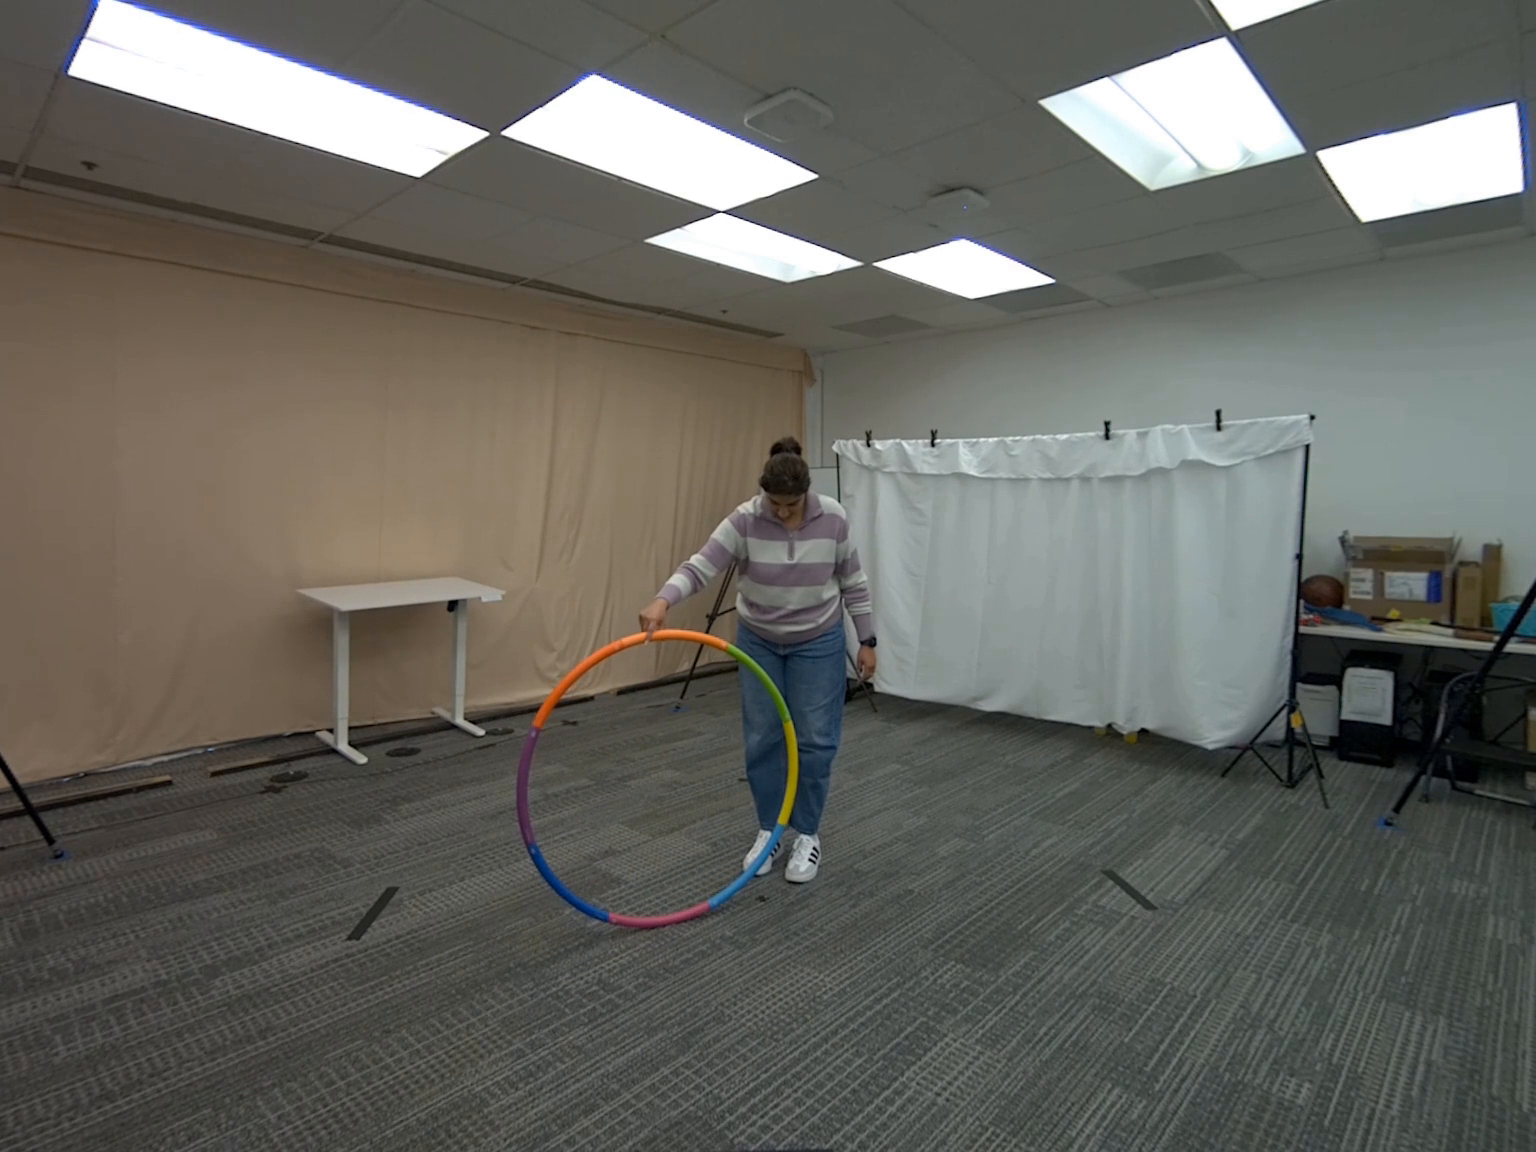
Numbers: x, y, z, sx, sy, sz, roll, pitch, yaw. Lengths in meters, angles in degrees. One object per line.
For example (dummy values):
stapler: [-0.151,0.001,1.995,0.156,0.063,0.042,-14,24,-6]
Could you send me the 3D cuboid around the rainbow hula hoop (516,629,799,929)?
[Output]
rainbow hula hoop: [-0.332,0.674,2.792,0.956,0.977,0.036,-2,2,-23]
